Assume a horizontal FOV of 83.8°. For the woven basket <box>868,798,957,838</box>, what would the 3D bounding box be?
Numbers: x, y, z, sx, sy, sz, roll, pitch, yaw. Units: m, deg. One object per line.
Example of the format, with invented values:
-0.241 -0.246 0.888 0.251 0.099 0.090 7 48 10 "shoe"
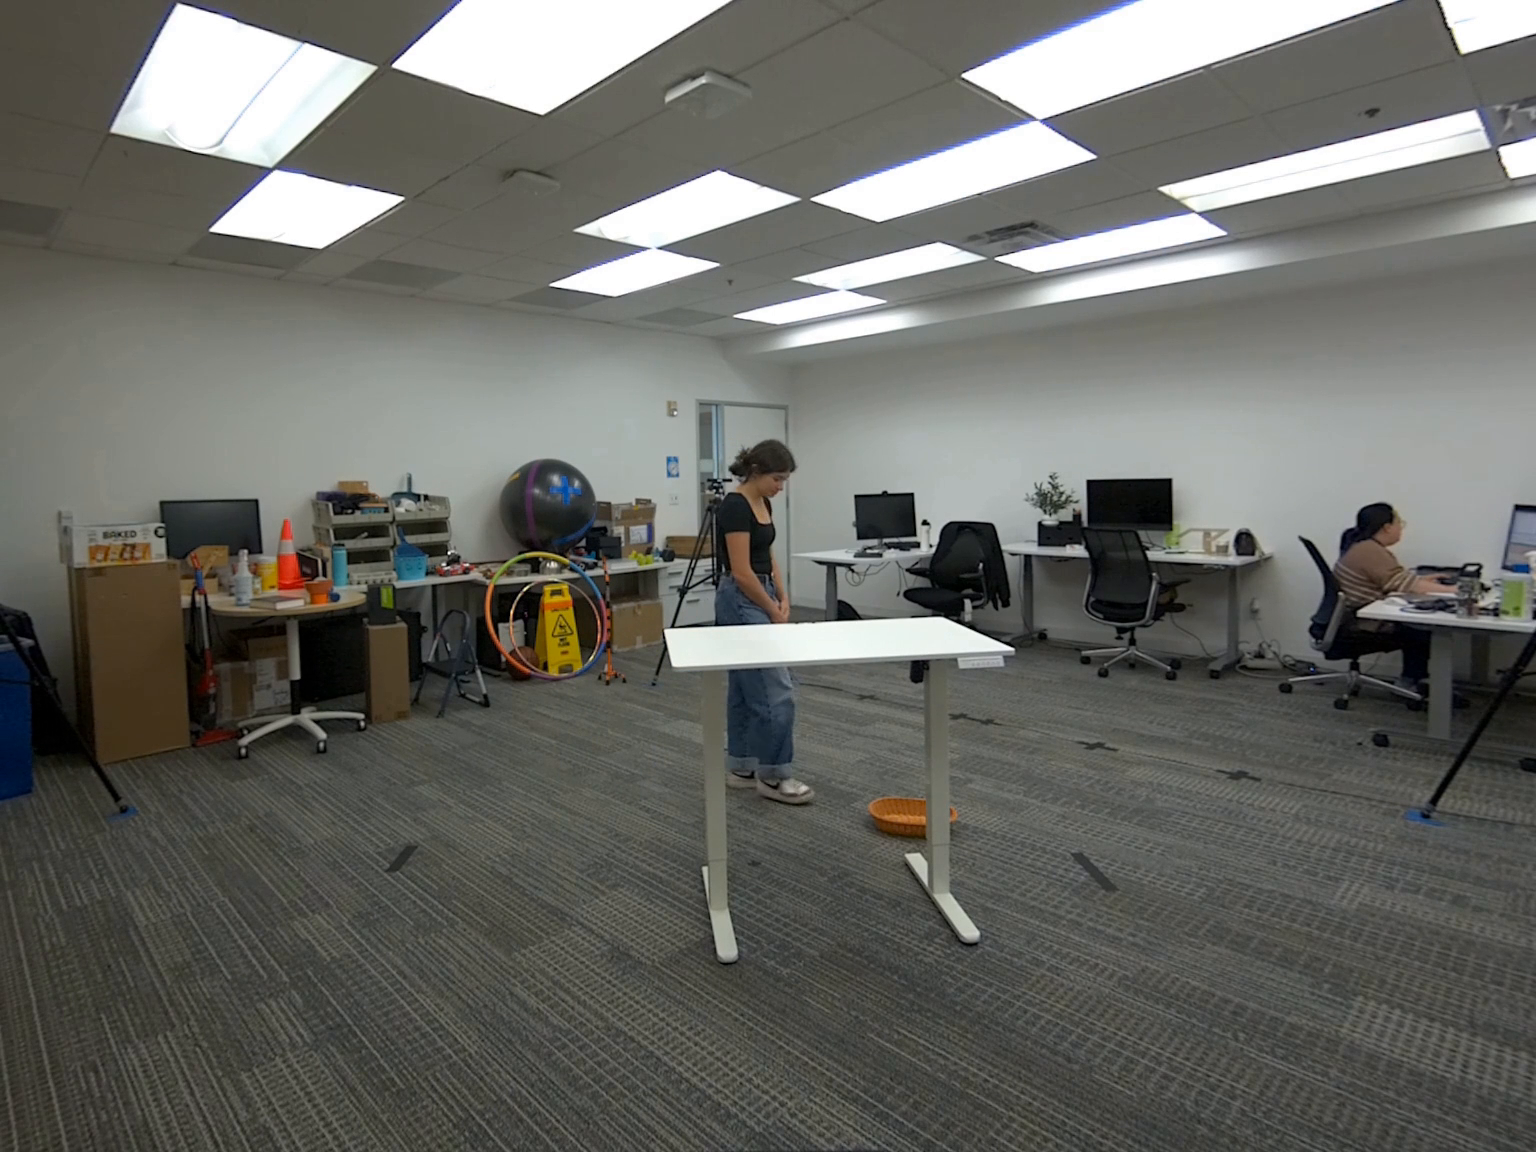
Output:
0.571 0.962 3.397 0.356 0.073 0.250 1 7 15 "woven basket"
